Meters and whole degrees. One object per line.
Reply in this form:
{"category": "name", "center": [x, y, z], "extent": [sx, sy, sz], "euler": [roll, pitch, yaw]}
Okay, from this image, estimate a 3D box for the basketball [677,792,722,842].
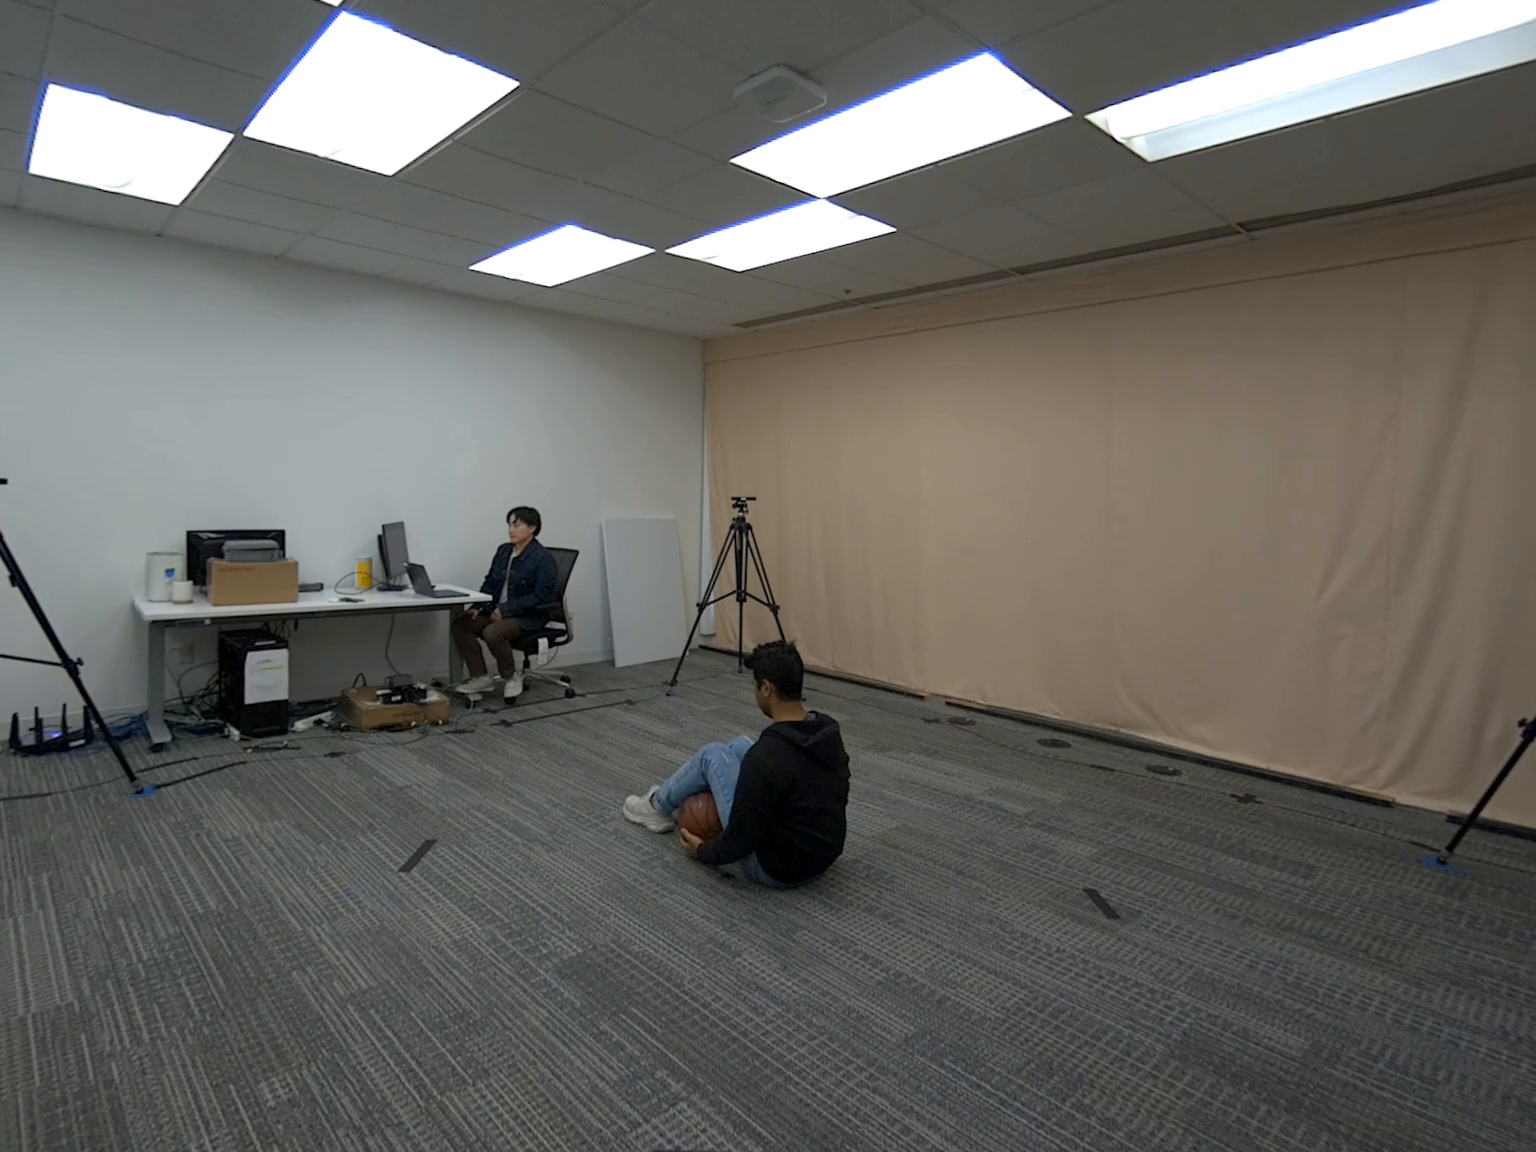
{"category": "basketball", "center": [-0.247, 0.963, 3.312], "extent": [0.236, 0.235, 0.237], "euler": [1, 4, -1]}
